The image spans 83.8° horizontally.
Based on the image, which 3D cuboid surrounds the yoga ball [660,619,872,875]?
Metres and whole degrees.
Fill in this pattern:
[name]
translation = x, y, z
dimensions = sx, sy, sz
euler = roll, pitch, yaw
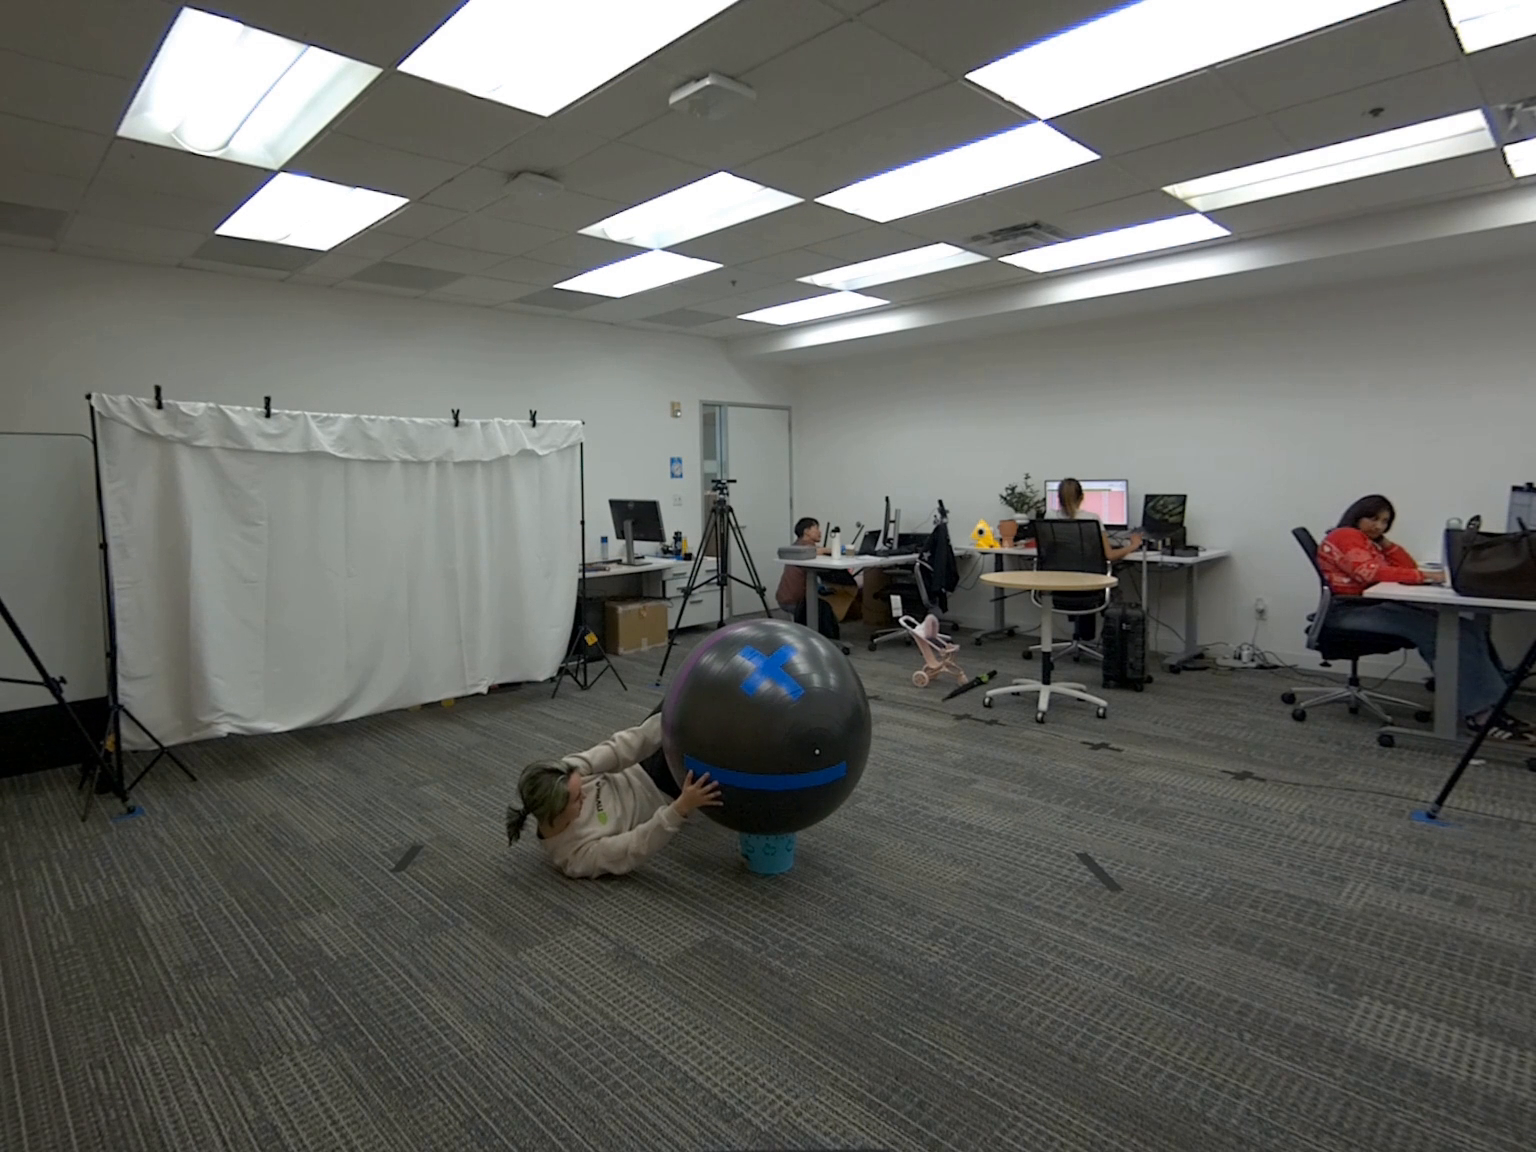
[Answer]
[yoga ball]
translation = -0.007, 0.533, 3.076
dimensions = 0.757, 0.755, 0.762
euler = -1, 5, -2
